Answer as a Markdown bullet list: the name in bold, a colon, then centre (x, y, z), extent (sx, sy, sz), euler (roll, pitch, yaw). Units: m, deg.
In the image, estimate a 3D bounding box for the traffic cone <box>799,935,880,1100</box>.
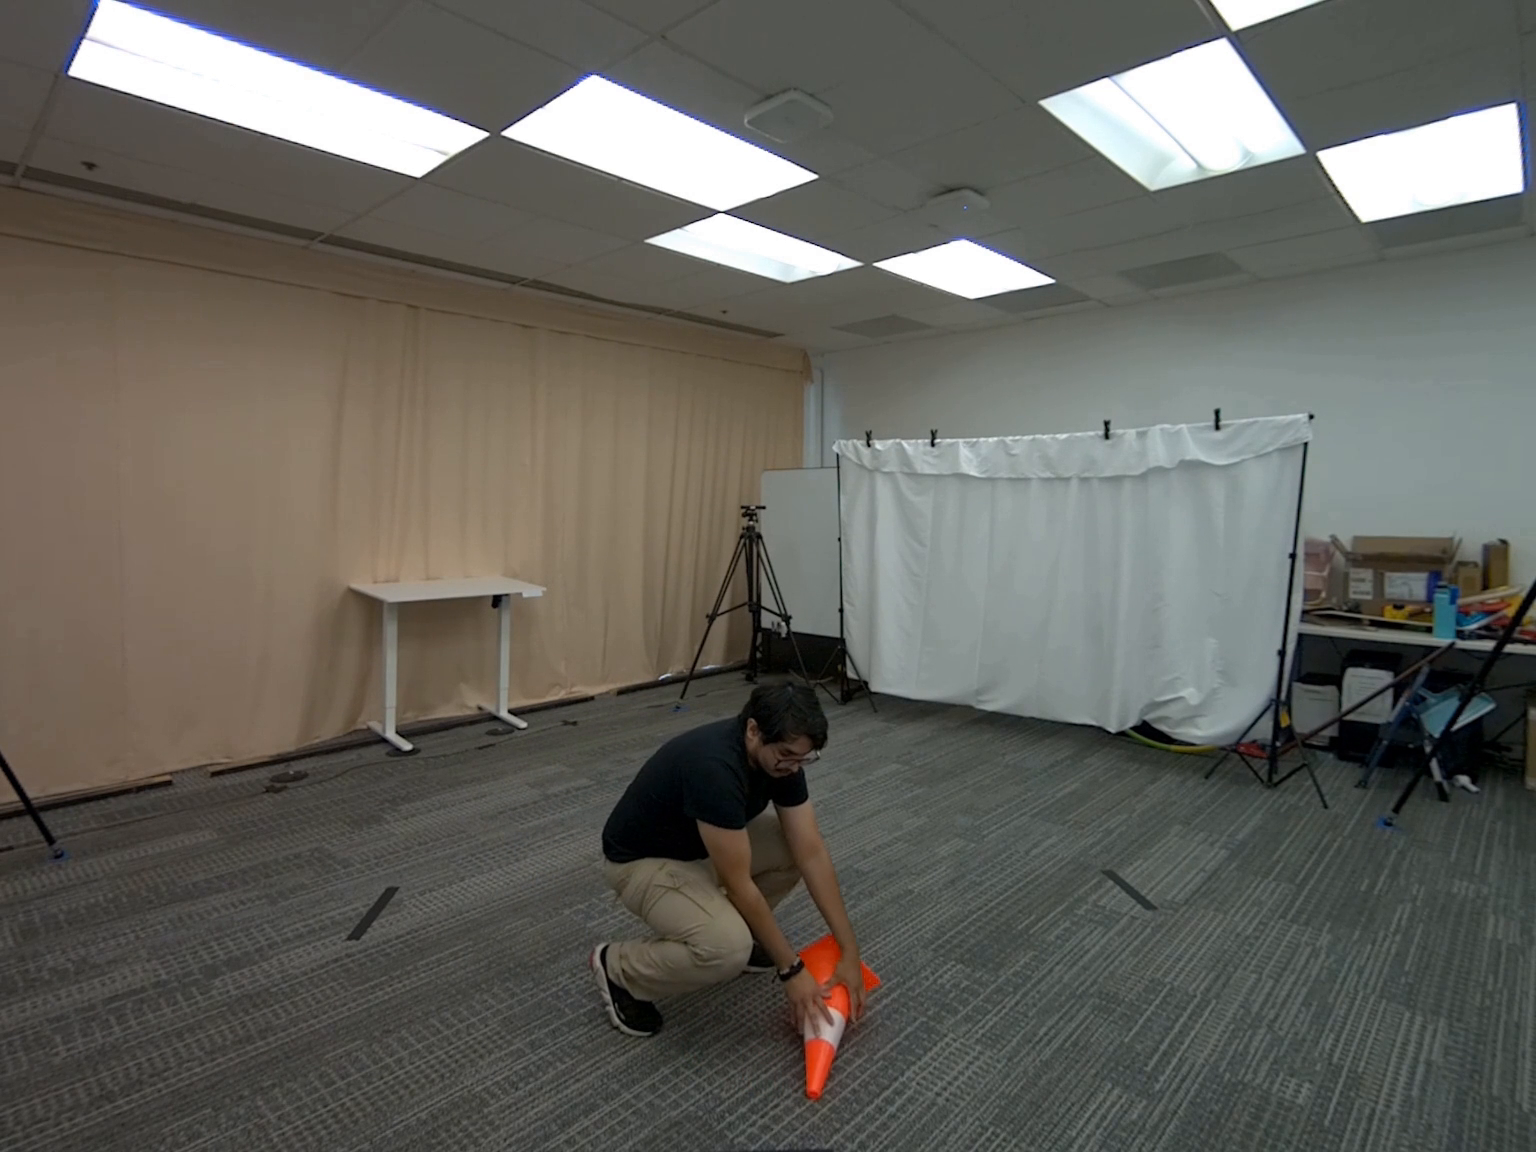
- **traffic cone**: centre (0.140, 1.171, 2.125), extent (0.203, 0.206, 0.382), euler (39, 23, -2)
